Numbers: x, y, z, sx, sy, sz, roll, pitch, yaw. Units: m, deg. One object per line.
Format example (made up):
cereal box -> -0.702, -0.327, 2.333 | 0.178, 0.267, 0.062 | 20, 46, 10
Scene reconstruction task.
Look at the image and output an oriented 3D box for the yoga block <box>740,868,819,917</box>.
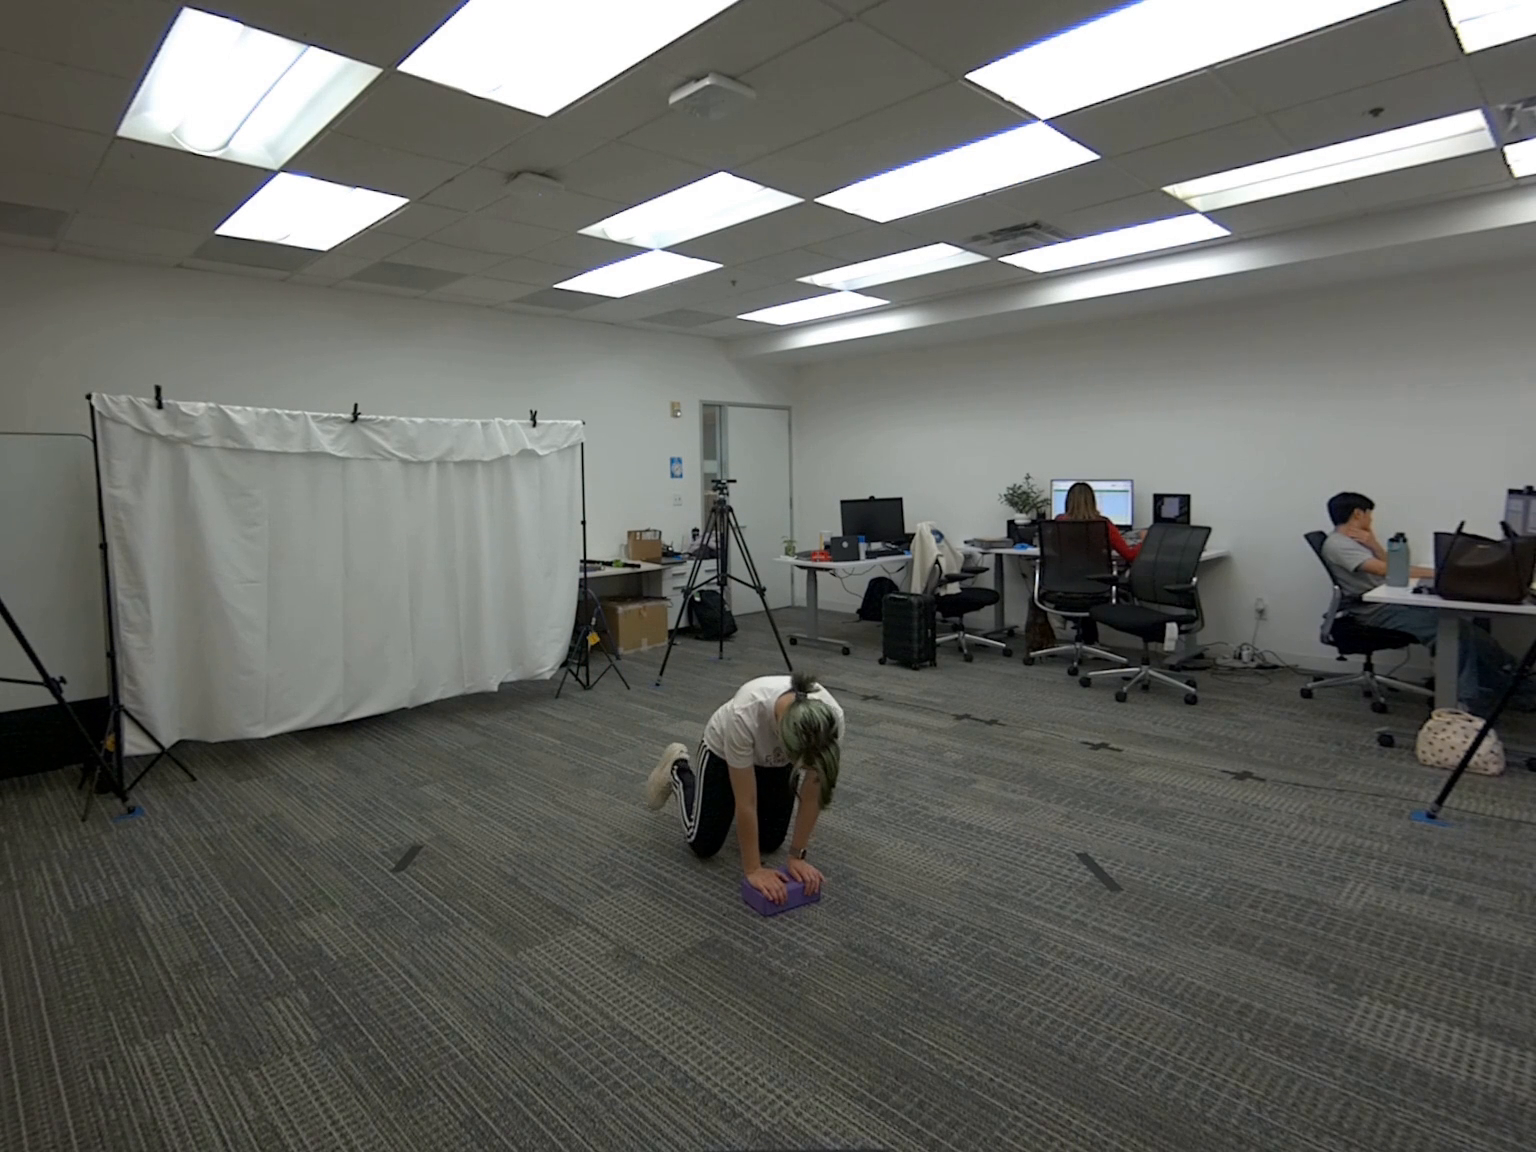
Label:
yoga block -> 0.049, 1.043, 2.837 | 0.224, 0.076, 0.153 | -7, 9, -29
